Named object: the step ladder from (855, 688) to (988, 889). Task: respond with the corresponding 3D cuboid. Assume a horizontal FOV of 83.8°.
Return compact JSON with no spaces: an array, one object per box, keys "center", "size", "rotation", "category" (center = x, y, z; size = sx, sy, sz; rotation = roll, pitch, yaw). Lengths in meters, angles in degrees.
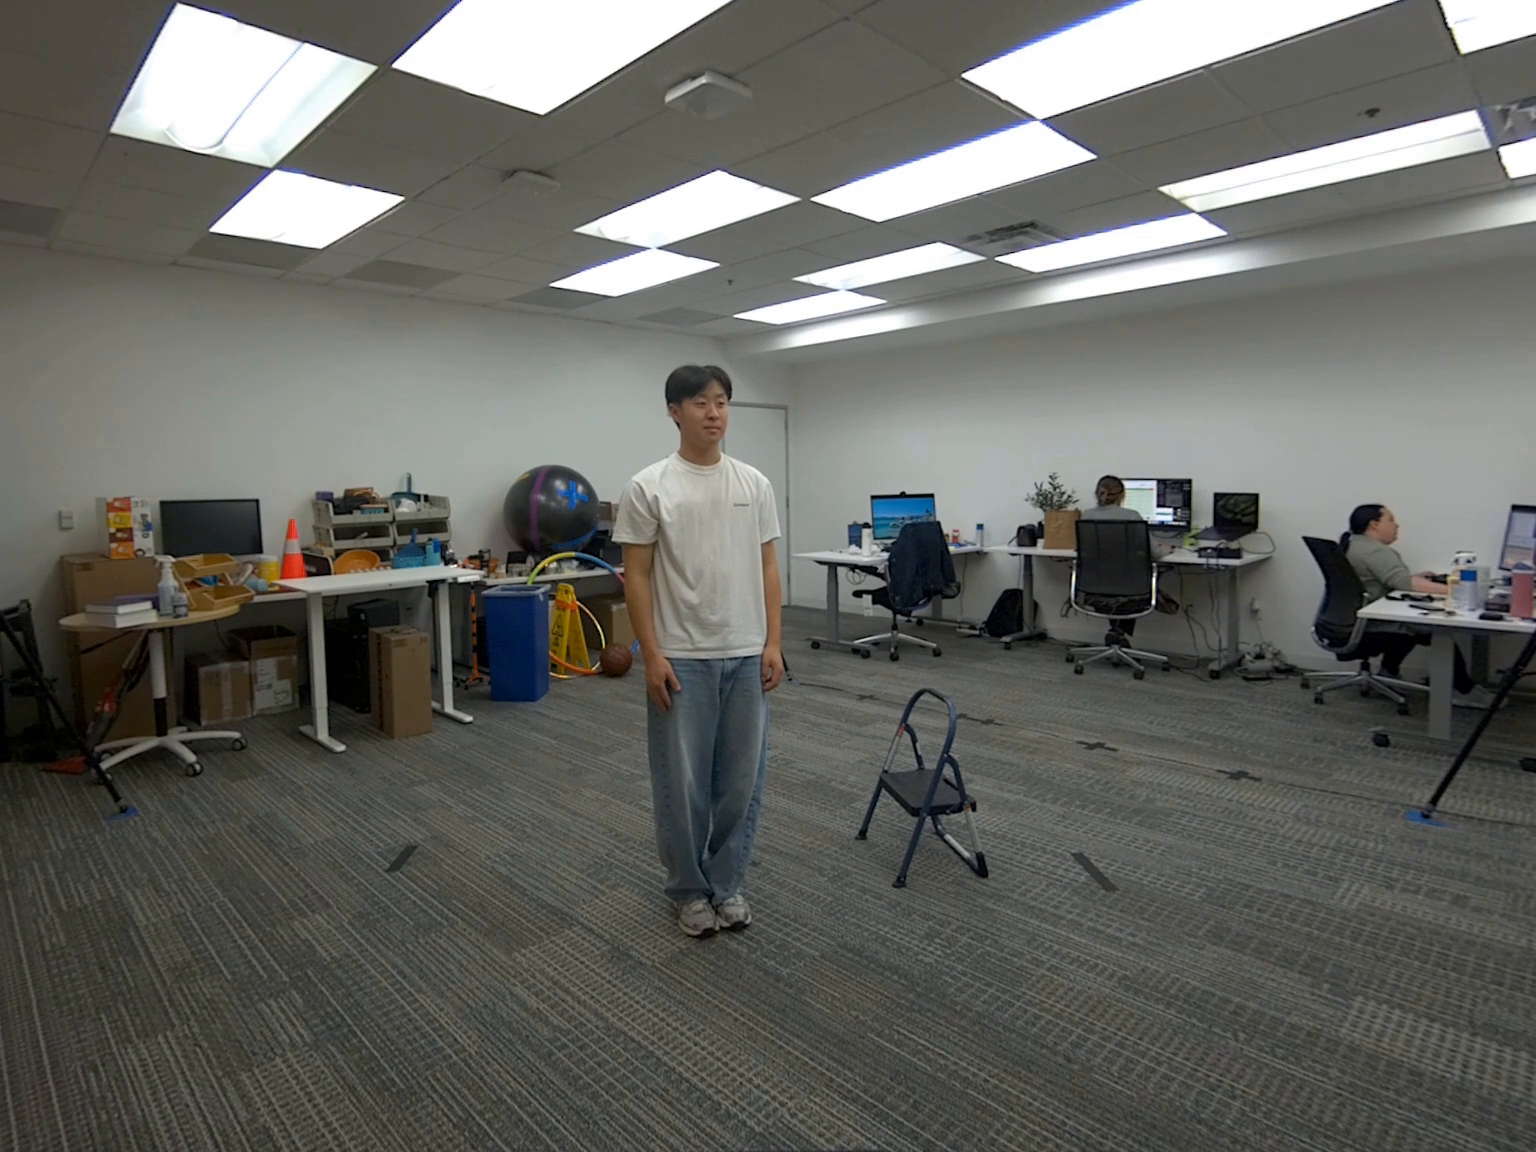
[{"center":[0.554,0.734,3.115],"size":[0.346,0.604,0.437],"rotation":[-2,5,-12],"category":"step ladder"}]
